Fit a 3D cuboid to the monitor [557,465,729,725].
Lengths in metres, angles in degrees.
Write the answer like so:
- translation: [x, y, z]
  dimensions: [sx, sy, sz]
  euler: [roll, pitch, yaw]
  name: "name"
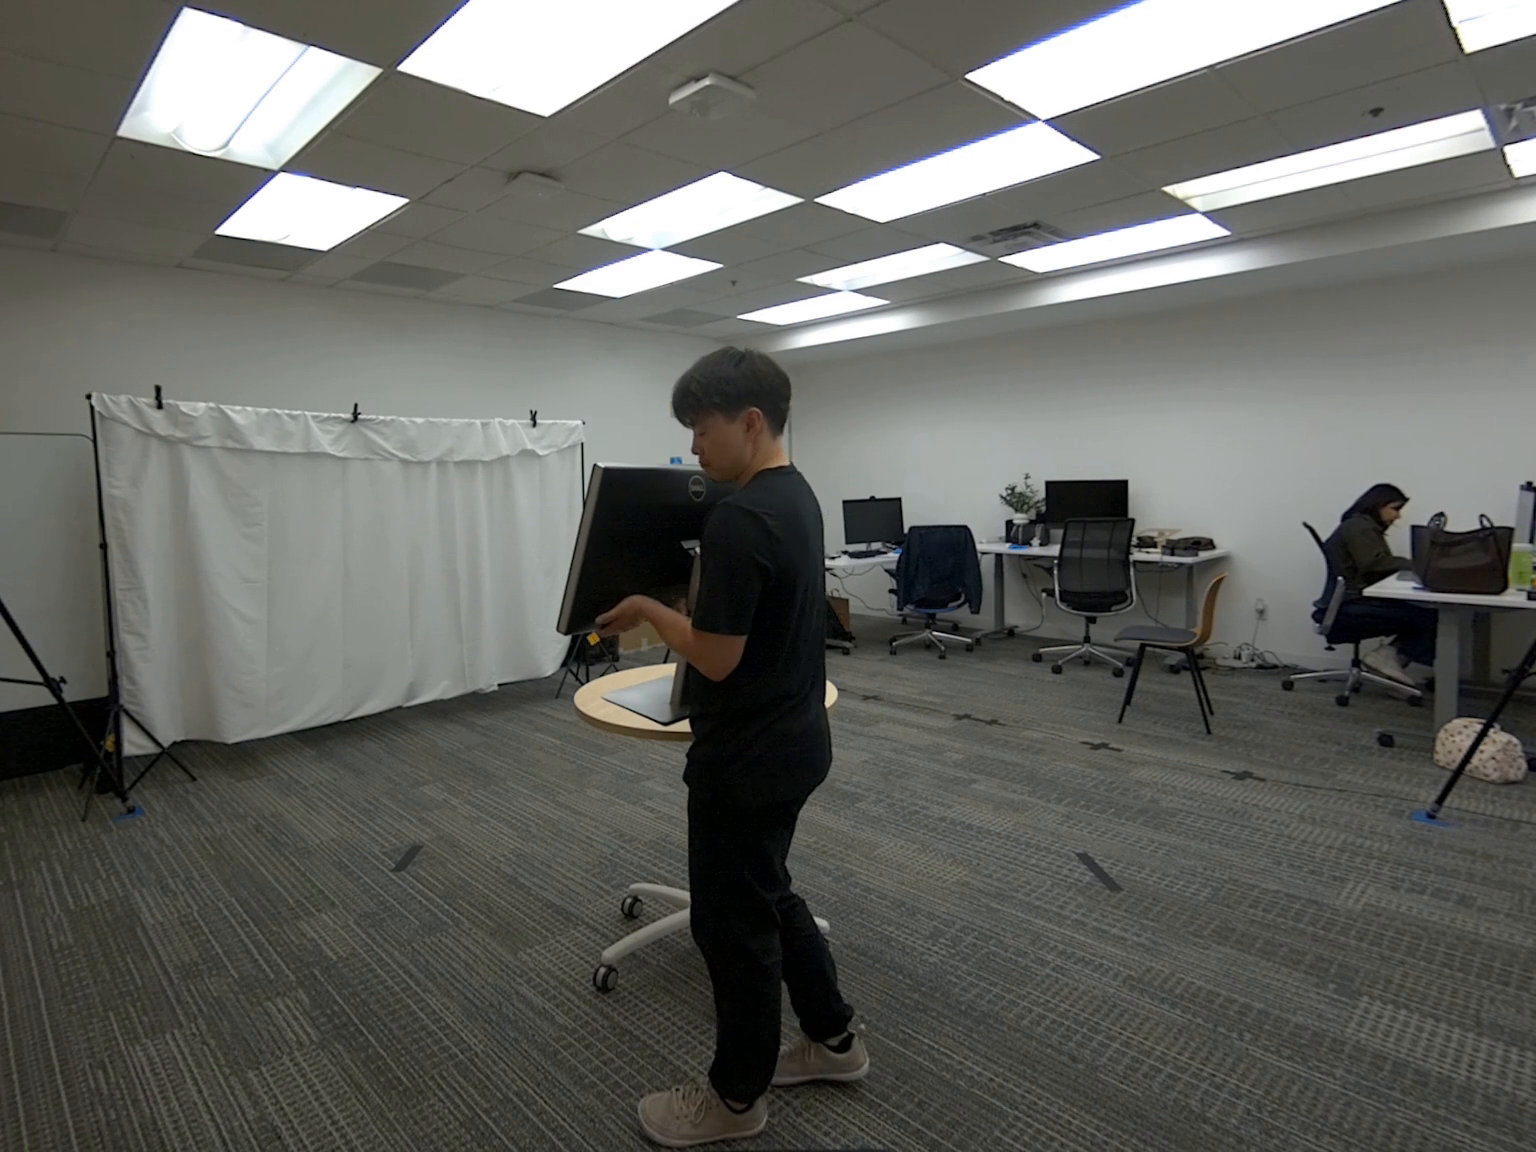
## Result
- translation: [-0.185, 0.019, 1.894]
  dimensions: [0.193, 0.520, 0.525]
  euler: [9, 8, 34]
  name: "monitor"
